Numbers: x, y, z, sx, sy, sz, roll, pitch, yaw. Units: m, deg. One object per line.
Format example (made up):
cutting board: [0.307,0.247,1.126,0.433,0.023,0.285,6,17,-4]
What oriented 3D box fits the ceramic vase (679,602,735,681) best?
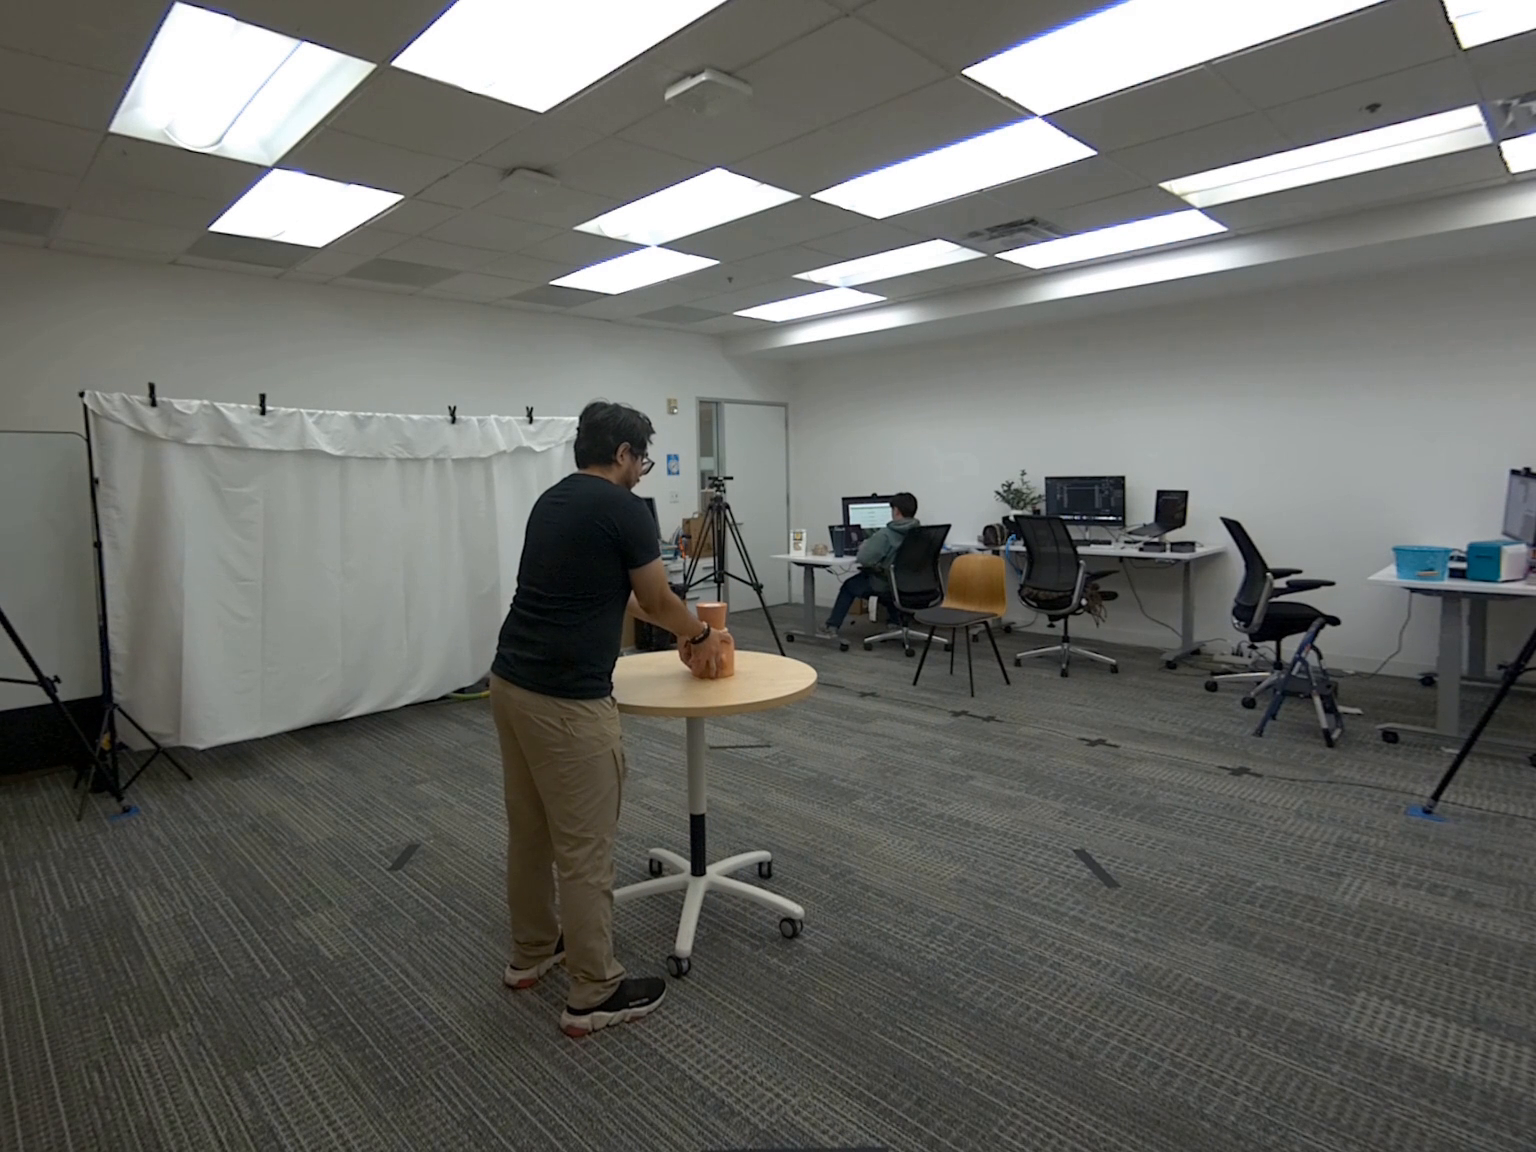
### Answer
ceramic vase: [-0.172,0.198,2.662,0.162,0.218,0.132,1,6,23]
